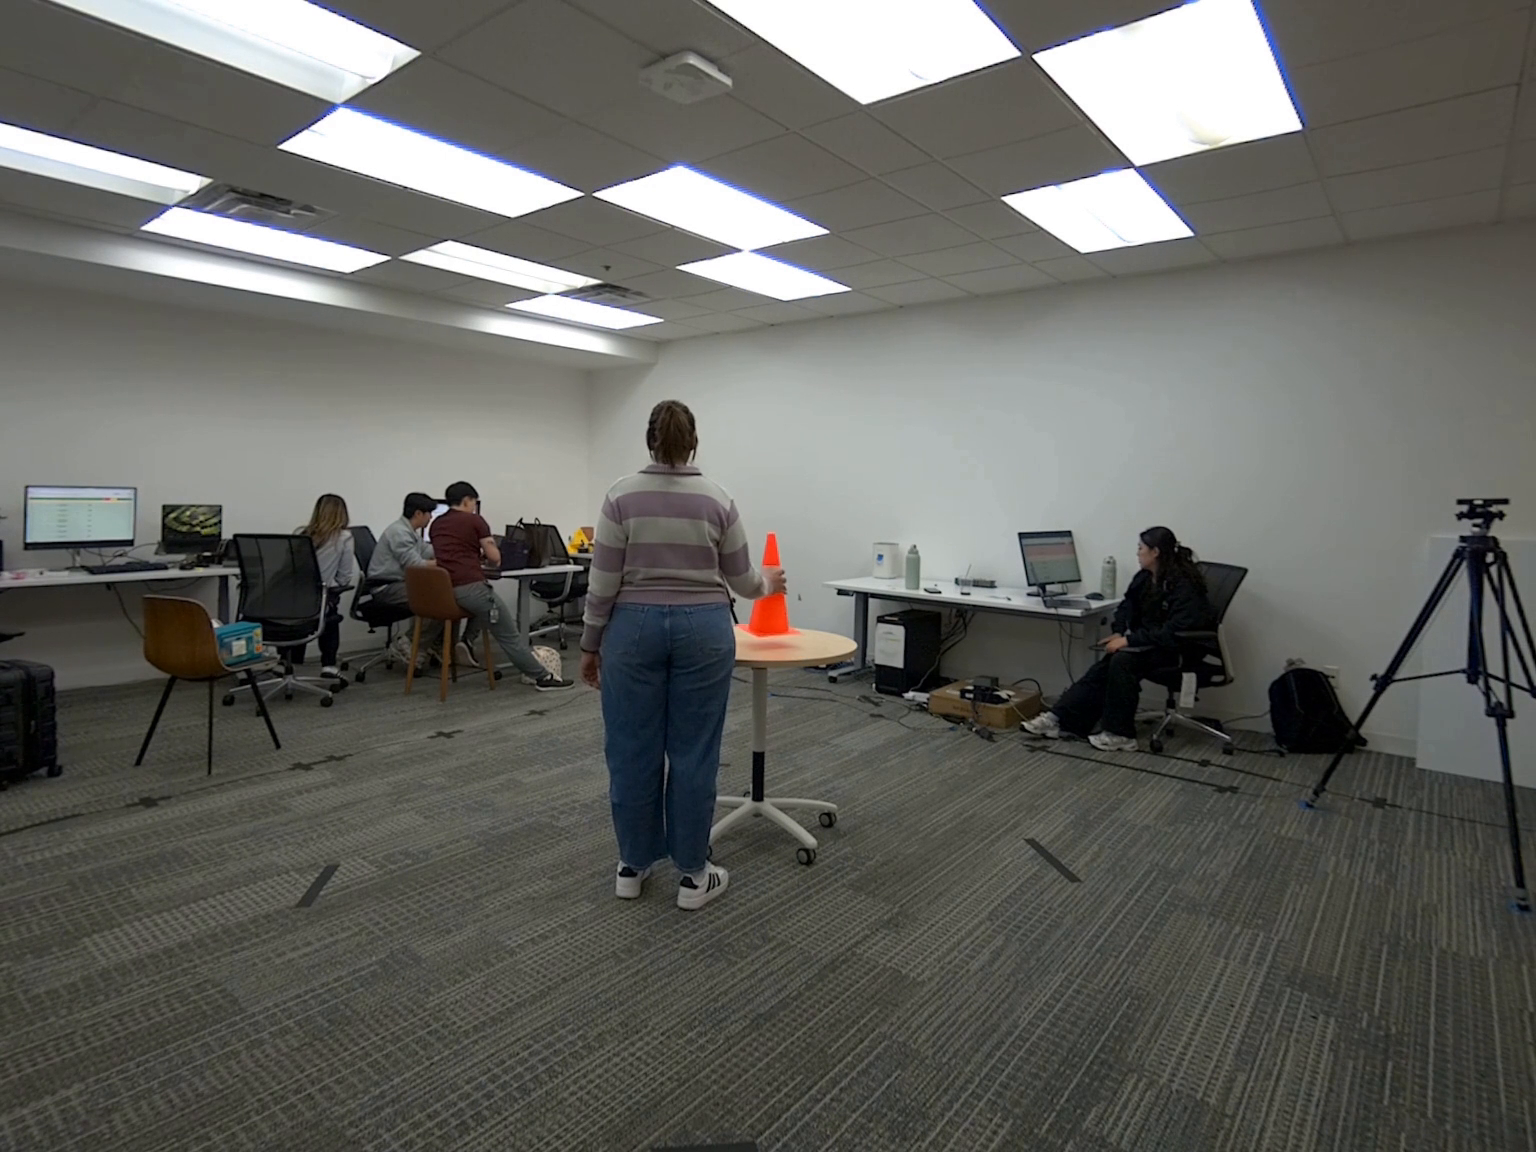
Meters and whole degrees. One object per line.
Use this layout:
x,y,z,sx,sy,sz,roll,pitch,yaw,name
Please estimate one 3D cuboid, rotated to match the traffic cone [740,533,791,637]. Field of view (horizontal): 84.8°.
0.001,0.028,3.292,0.198,0.381,0.212,-3,10,-31,traffic cone
